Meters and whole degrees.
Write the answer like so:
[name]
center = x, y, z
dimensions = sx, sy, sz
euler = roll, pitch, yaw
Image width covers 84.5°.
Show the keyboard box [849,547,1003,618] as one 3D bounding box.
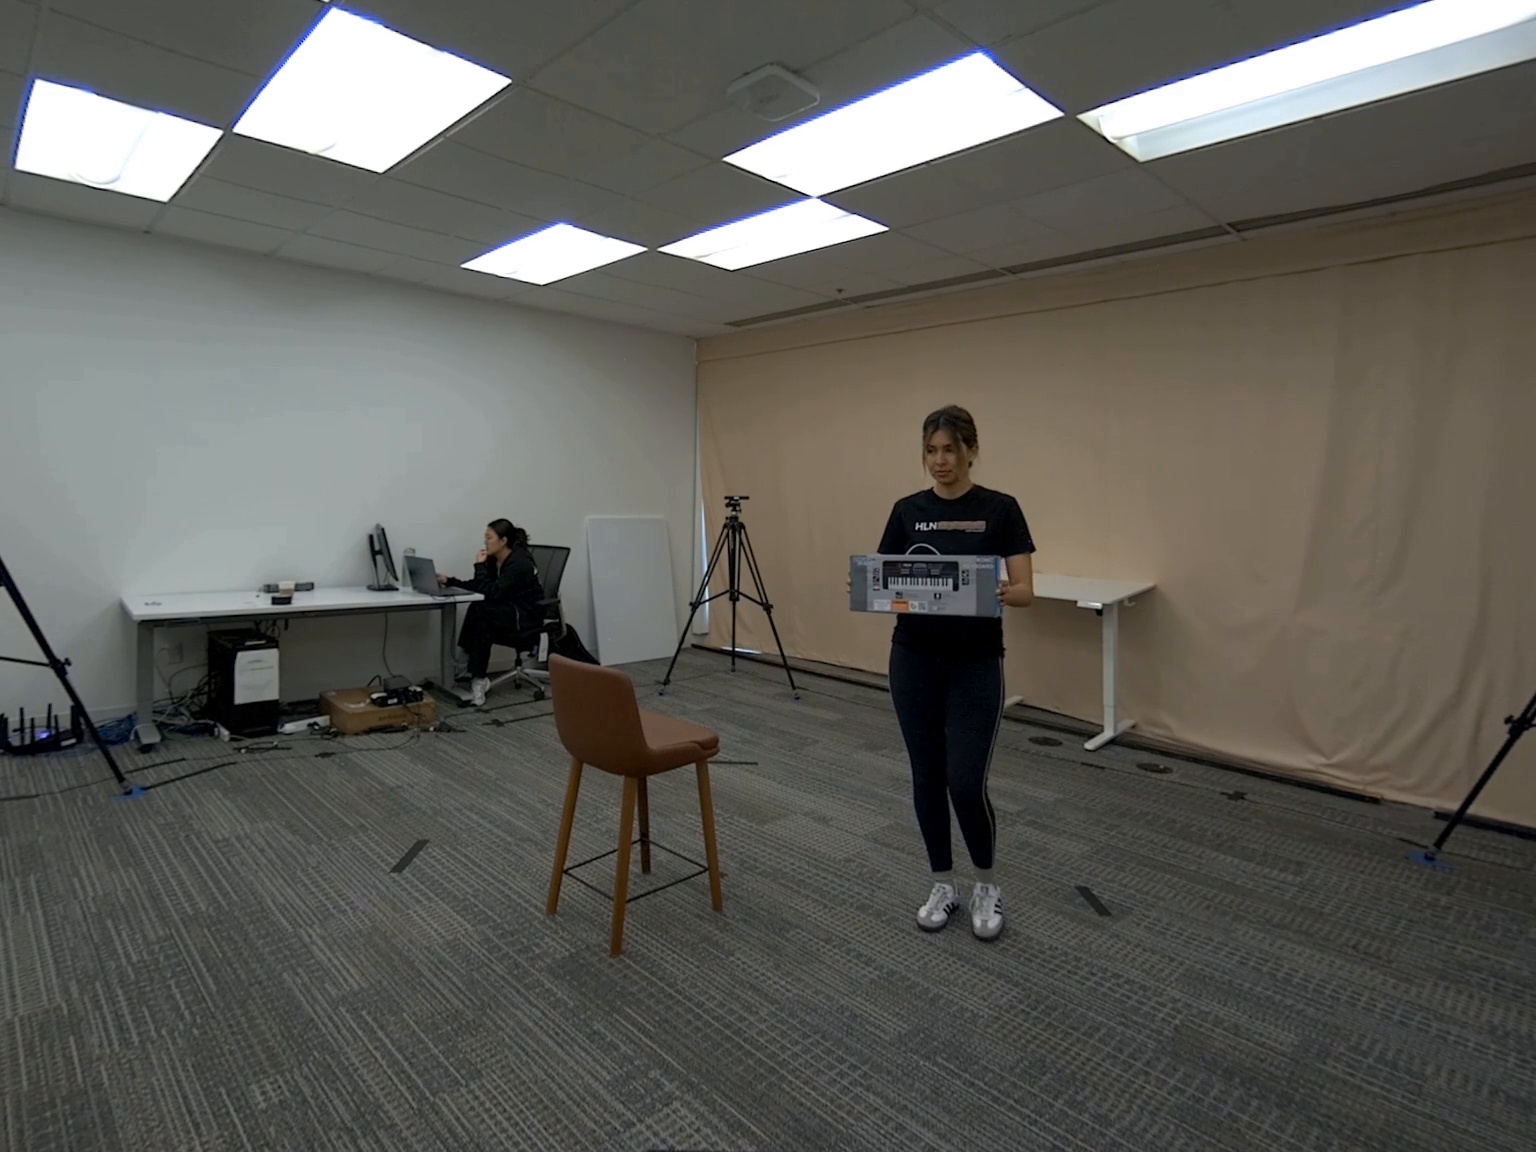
[keyboard box]
center = 0.454, 0.031, 2.474
dimensions = 0.446, 0.176, 0.058
euler = 1, 2, 29
